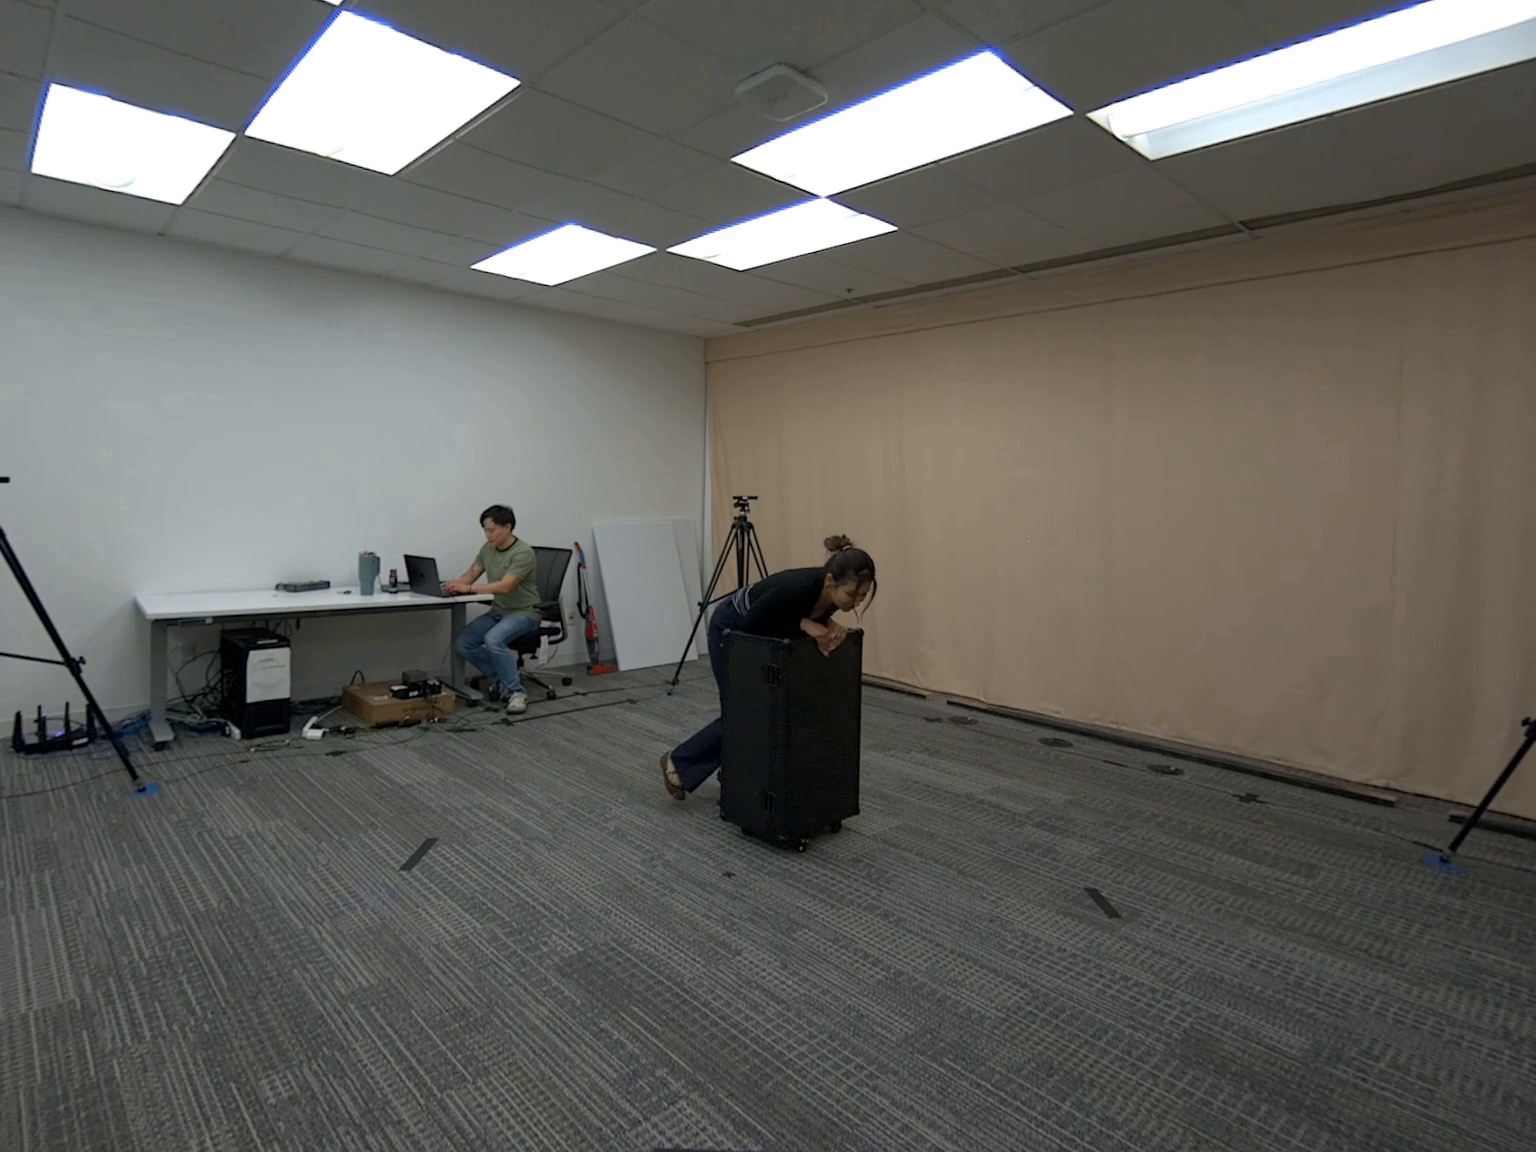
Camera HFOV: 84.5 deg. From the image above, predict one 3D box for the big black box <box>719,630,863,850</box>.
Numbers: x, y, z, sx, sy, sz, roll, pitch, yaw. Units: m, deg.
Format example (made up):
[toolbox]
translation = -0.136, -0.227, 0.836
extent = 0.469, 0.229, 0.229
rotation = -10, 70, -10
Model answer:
[big black box]
translation = 0.082, 0.651, 3.497
extent = 0.406, 0.859, 0.509
rotation = 3, 4, 44
